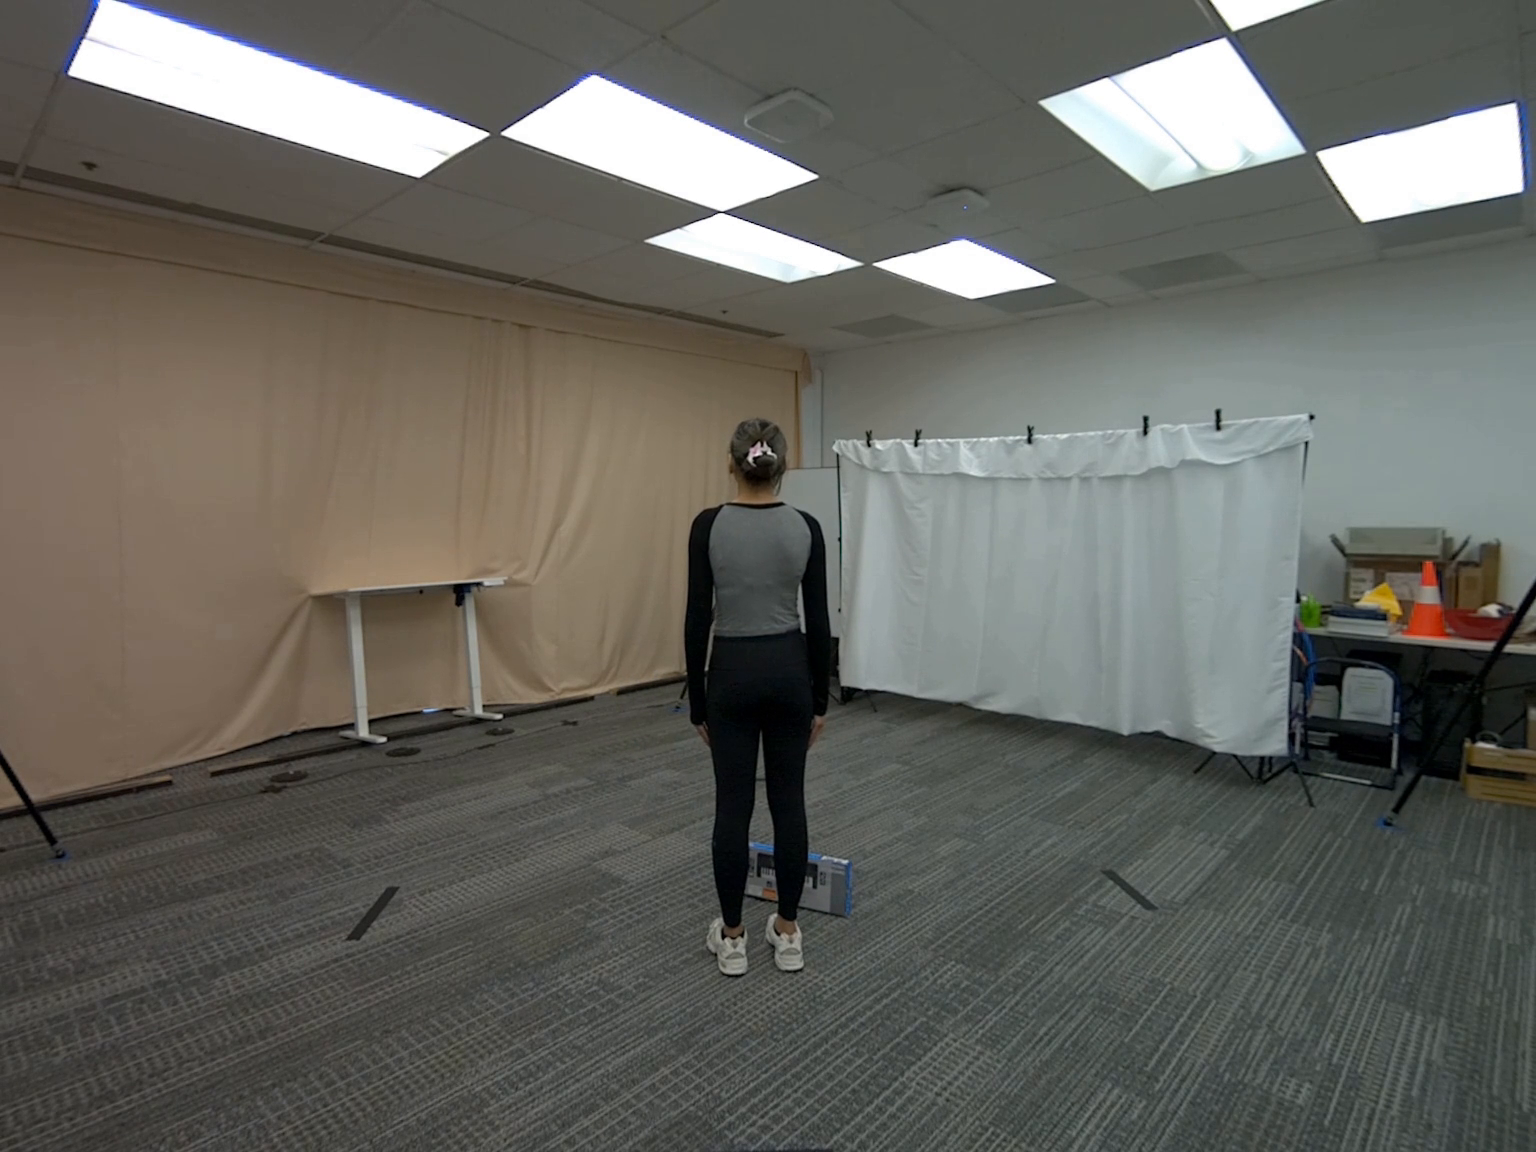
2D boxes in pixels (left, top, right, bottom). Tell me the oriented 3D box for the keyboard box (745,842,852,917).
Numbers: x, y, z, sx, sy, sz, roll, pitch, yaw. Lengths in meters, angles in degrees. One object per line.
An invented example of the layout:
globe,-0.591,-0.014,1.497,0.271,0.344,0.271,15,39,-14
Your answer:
keyboard box,0.078,1.059,2.962,0.448,0.176,0.057,2,-3,25
